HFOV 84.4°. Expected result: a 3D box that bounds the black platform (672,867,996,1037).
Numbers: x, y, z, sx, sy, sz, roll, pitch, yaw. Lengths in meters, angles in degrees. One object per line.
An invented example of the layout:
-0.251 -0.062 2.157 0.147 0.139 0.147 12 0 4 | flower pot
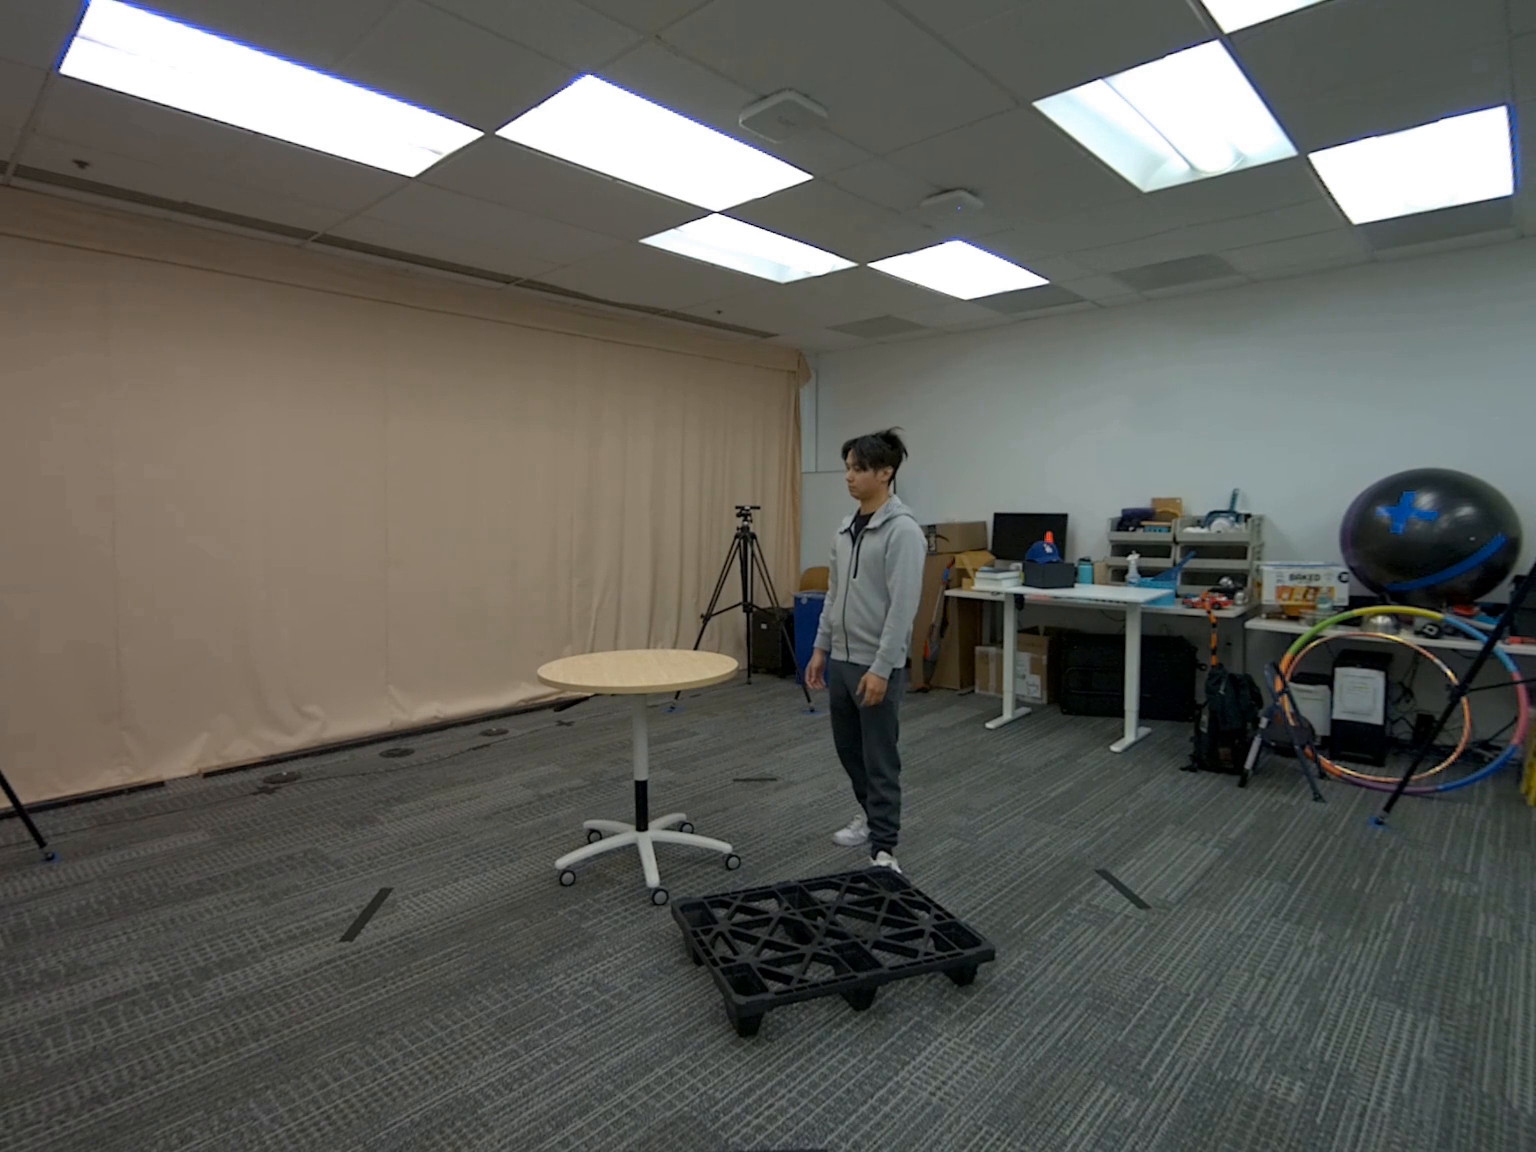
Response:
0.165 1.114 2.542 0.789 0.143 0.619 -2 4 -21 | black platform
